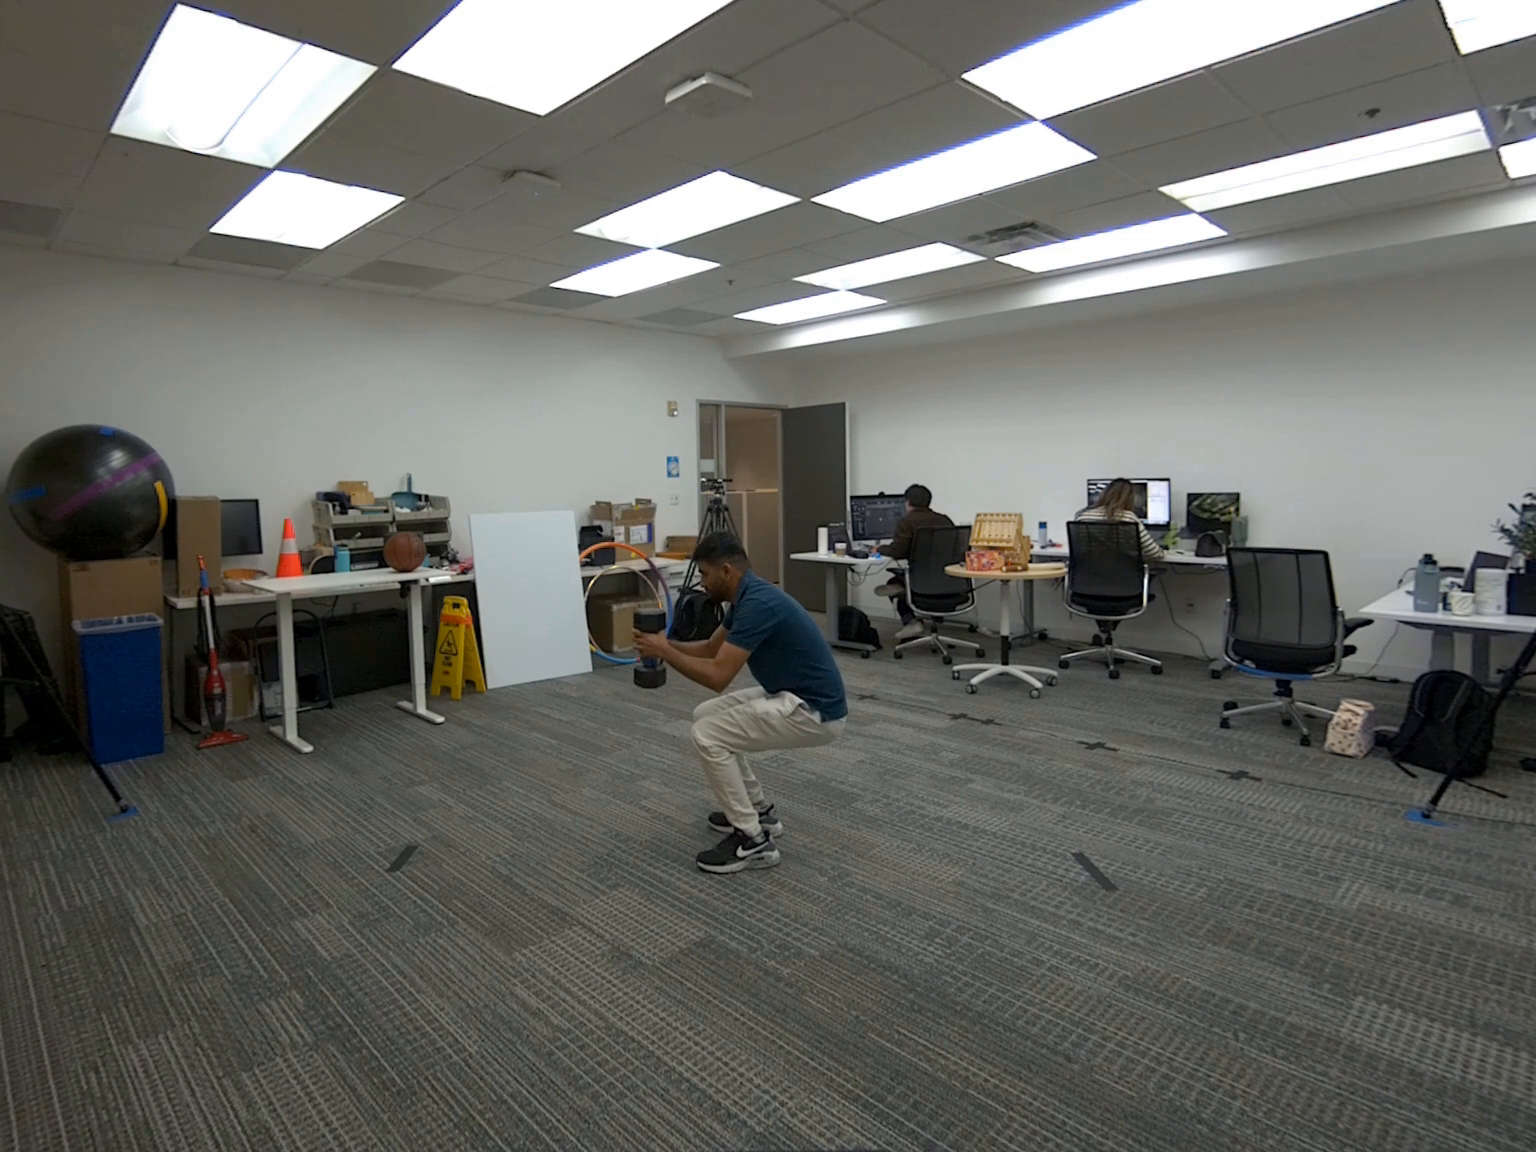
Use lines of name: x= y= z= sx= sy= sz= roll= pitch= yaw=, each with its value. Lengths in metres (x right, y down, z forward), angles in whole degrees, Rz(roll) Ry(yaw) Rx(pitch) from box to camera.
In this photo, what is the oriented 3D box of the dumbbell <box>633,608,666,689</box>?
dumbbell: x=-0.441 y=0.257 z=3.222 sx=0.122 sy=0.292 sz=0.109 roll=1 pitch=5 yaw=-4
